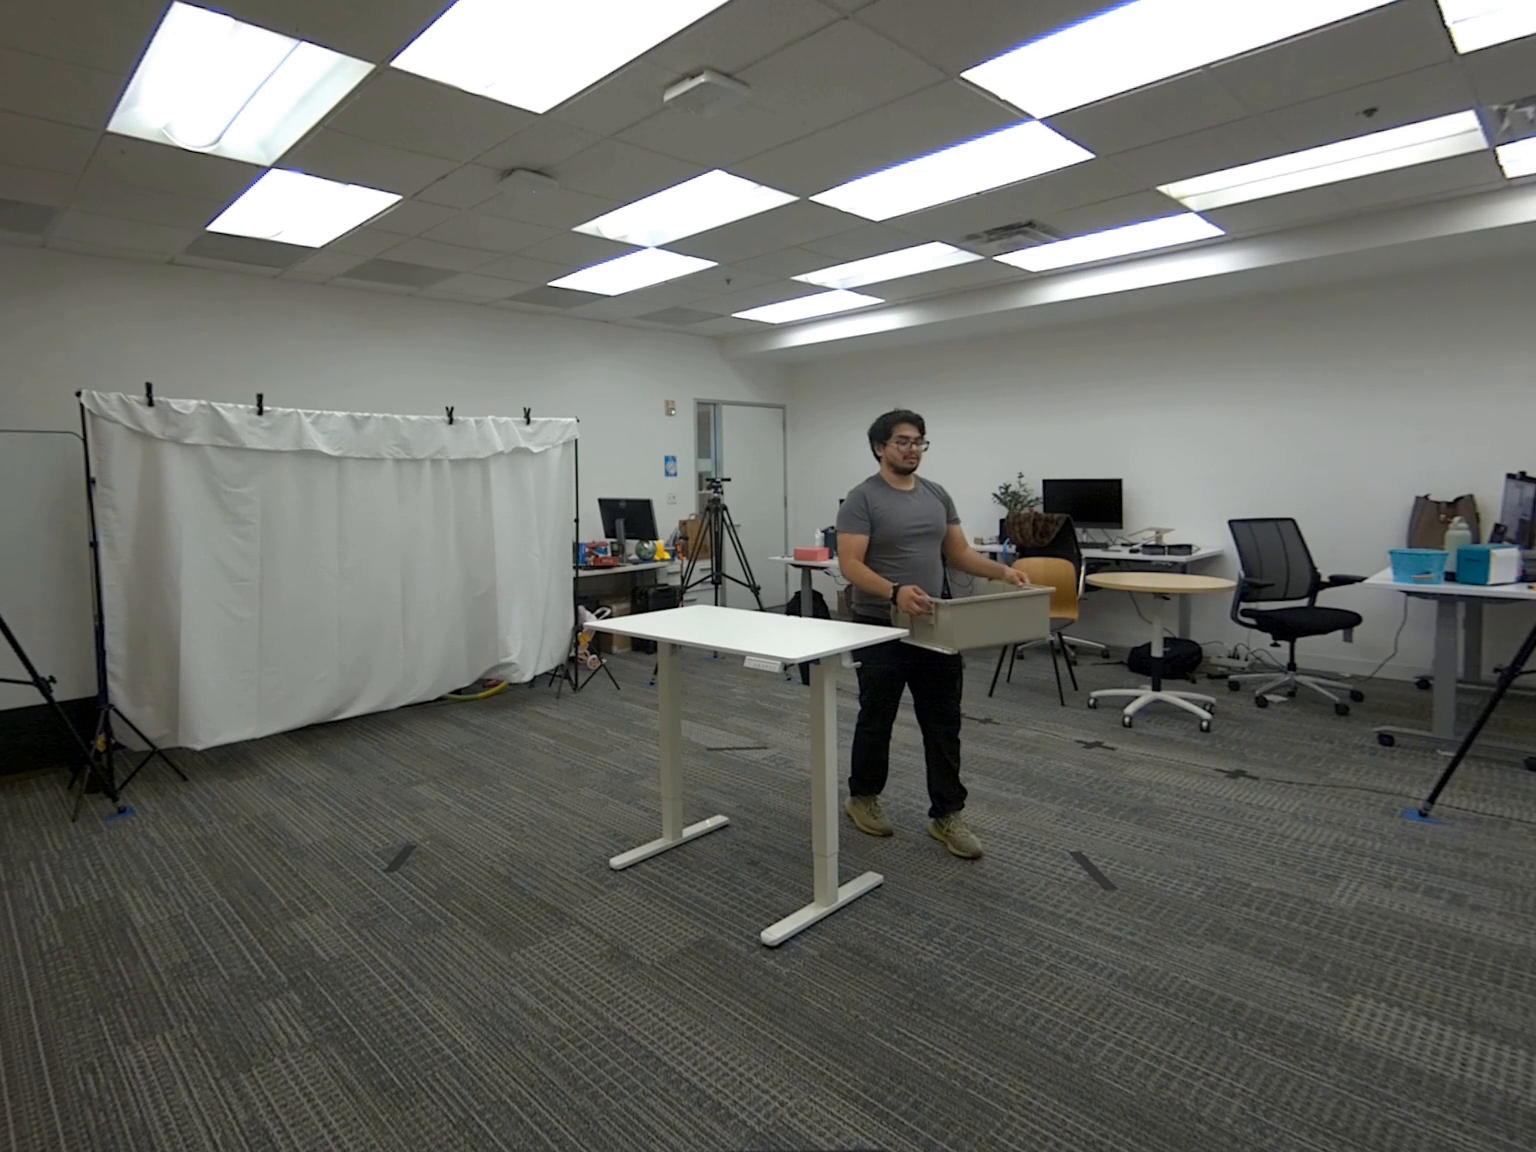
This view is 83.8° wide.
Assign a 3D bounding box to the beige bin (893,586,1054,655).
[{"bbox_3d":[0.715,0.131,2.998,0.416,0.188,0.385,-6,7,-19],"label":"beige bin"}]
